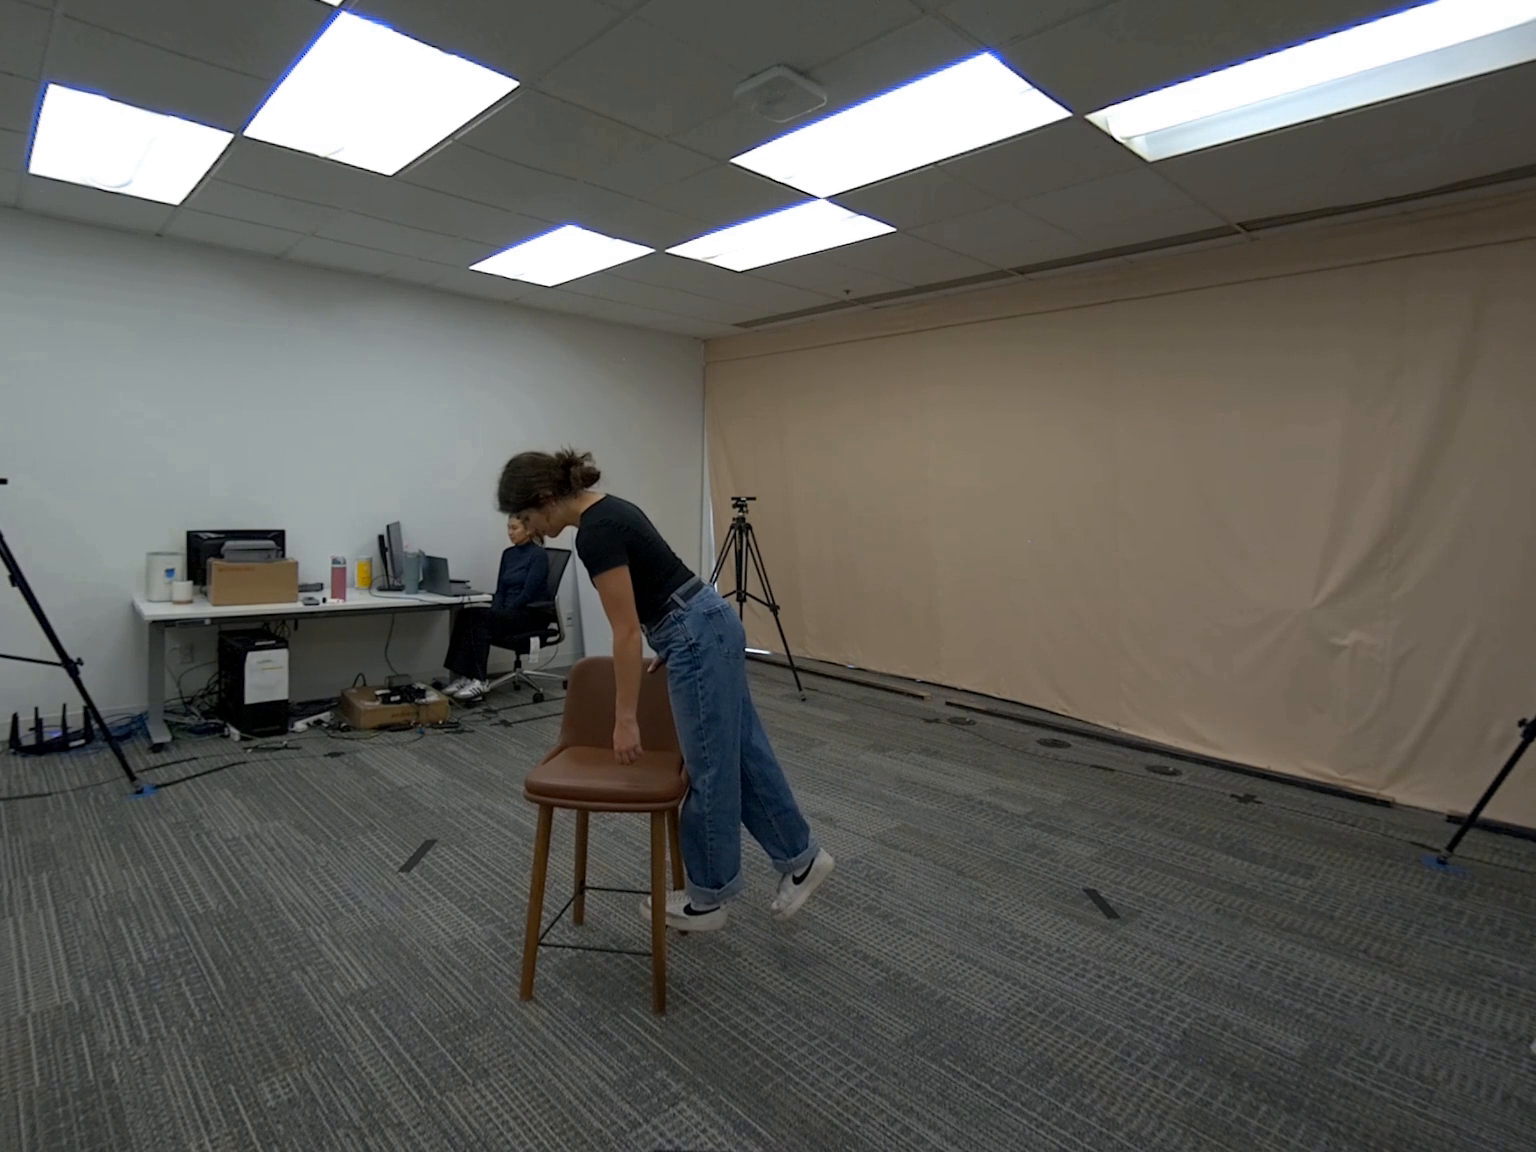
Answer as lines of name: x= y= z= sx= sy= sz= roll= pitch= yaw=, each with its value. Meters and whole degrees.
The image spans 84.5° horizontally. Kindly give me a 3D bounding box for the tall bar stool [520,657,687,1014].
tall bar stool: x=-0.455 y=0.719 z=2.481 sx=0.459 sy=0.889 sz=0.465 roll=1 pitch=1 yaw=7
